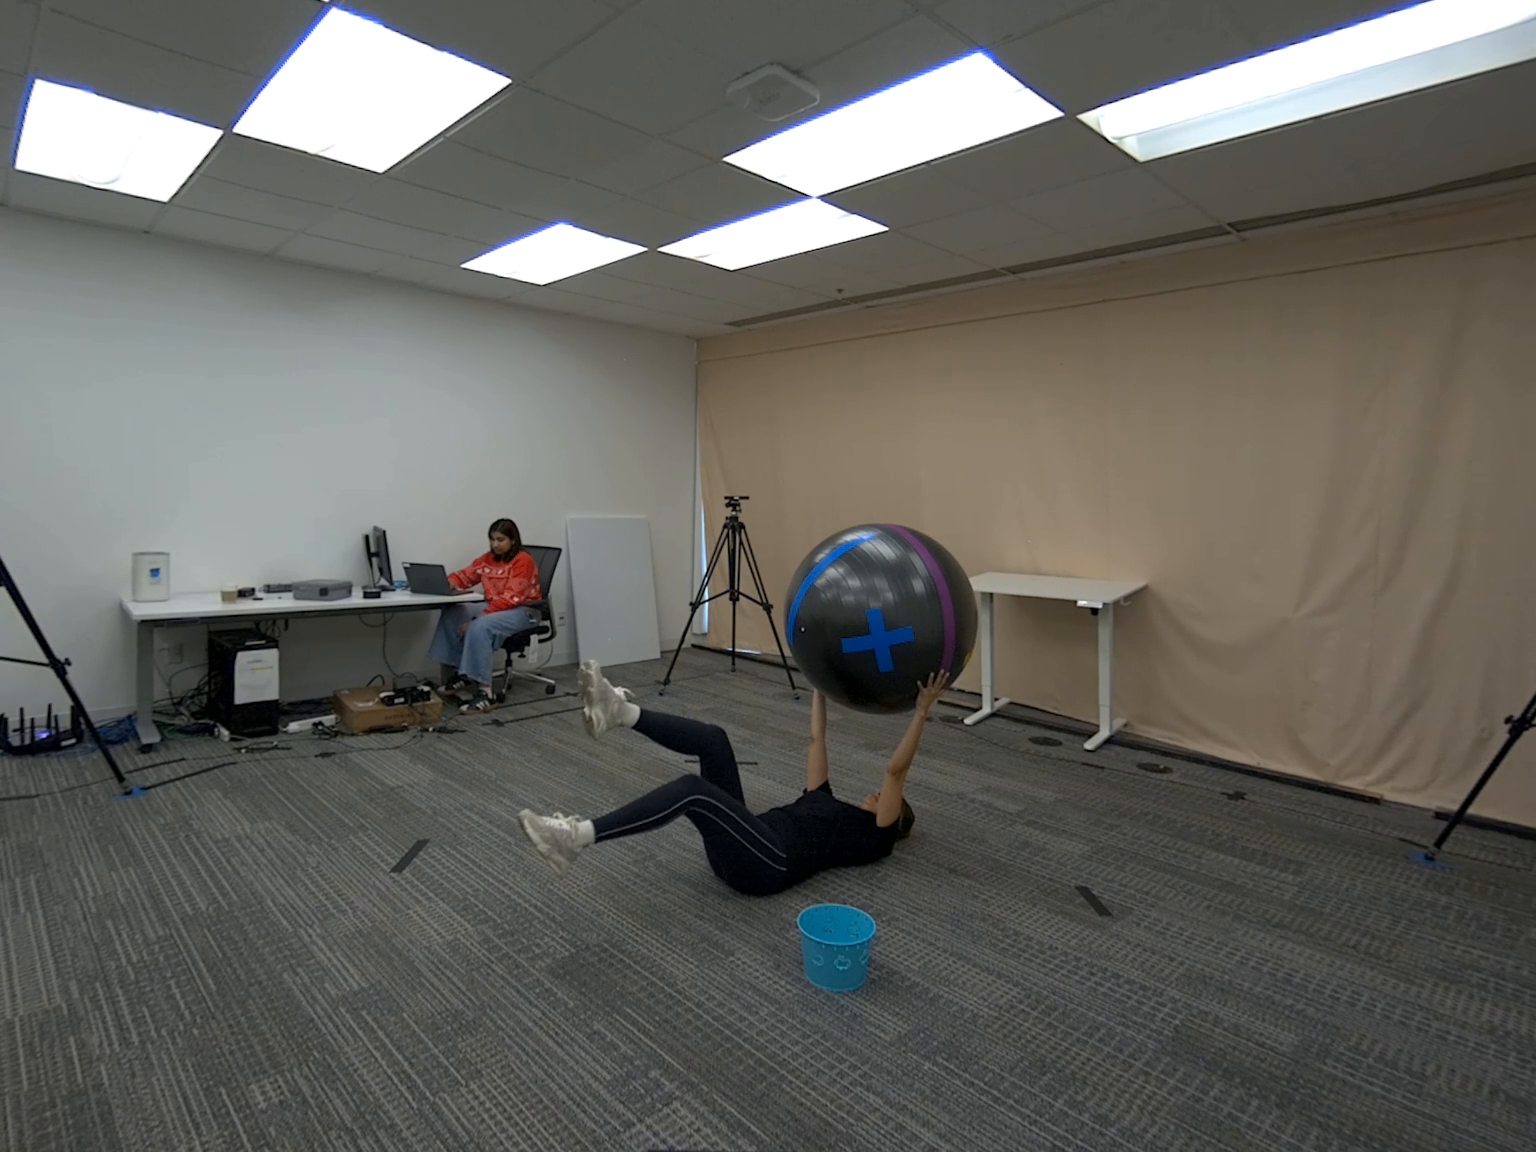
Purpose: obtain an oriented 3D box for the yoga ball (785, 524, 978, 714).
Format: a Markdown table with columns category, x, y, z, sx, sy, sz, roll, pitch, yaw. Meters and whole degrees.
| category | x | y | z | sx | sy | sz | roll | pitch | yaw |
| --- | --- | --- | --- | --- | --- | --- | --- | --- | --- |
| yoga ball | 0.437 | 0.169 | 3.350 | 0.757 | 0.754 | 0.762 | 0 | 7 | -1 |
